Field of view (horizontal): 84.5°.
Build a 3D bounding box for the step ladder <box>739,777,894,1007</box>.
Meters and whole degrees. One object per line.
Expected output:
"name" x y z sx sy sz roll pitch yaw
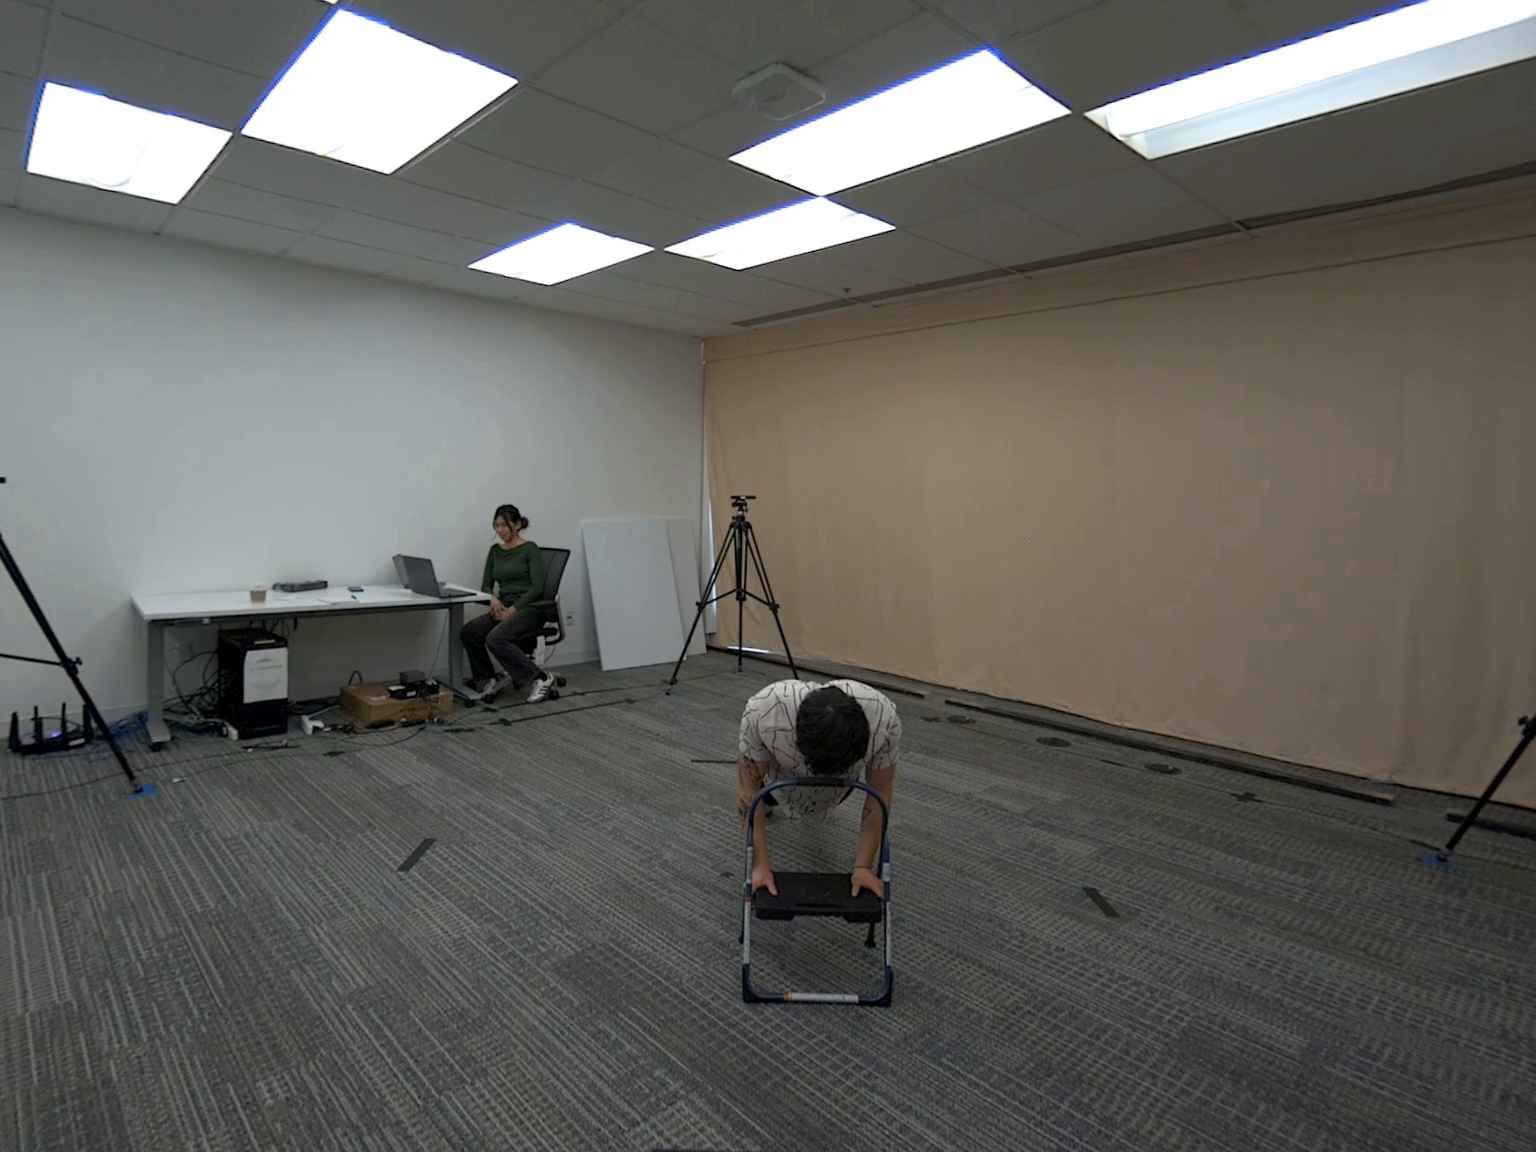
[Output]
"step ladder" 0.130 0.871 2.466 0.430 0.605 0.350 1 3 -2
